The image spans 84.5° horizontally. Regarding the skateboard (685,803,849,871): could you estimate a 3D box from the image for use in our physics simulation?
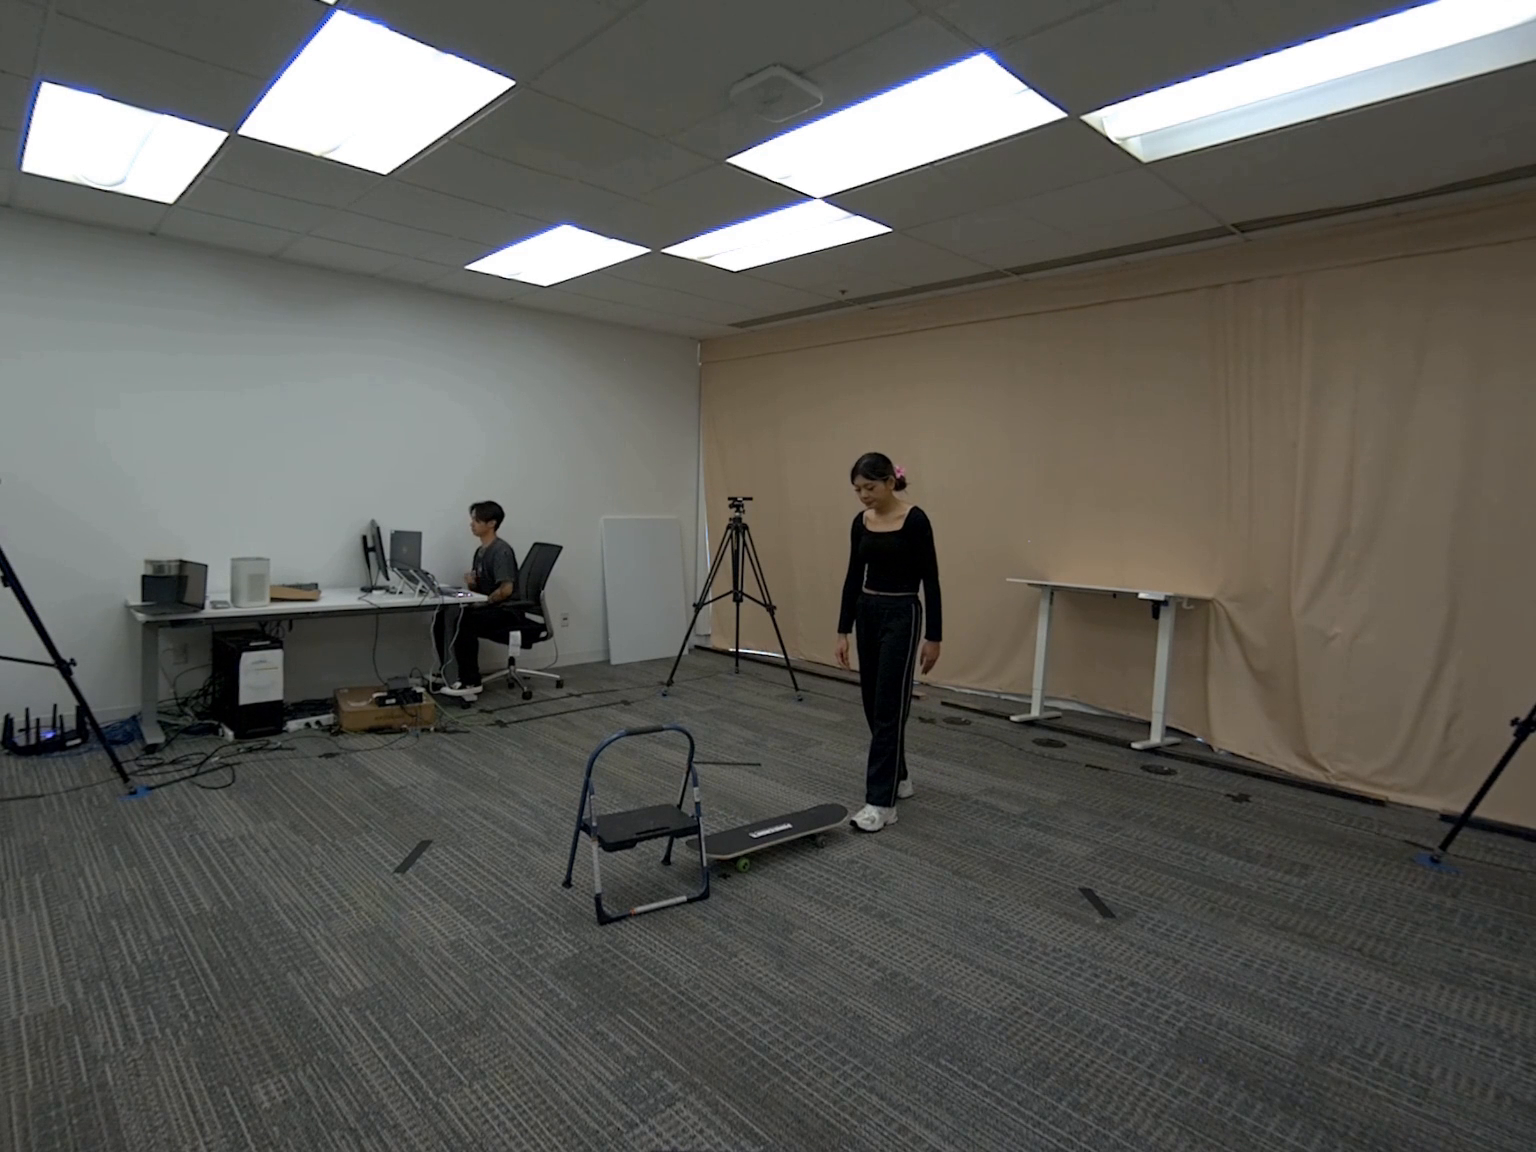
[{"bbox_3d":[0.005,1.036,3.325,0.768,0.110,0.198,-3,7,-39],"label":"skateboard"}]
